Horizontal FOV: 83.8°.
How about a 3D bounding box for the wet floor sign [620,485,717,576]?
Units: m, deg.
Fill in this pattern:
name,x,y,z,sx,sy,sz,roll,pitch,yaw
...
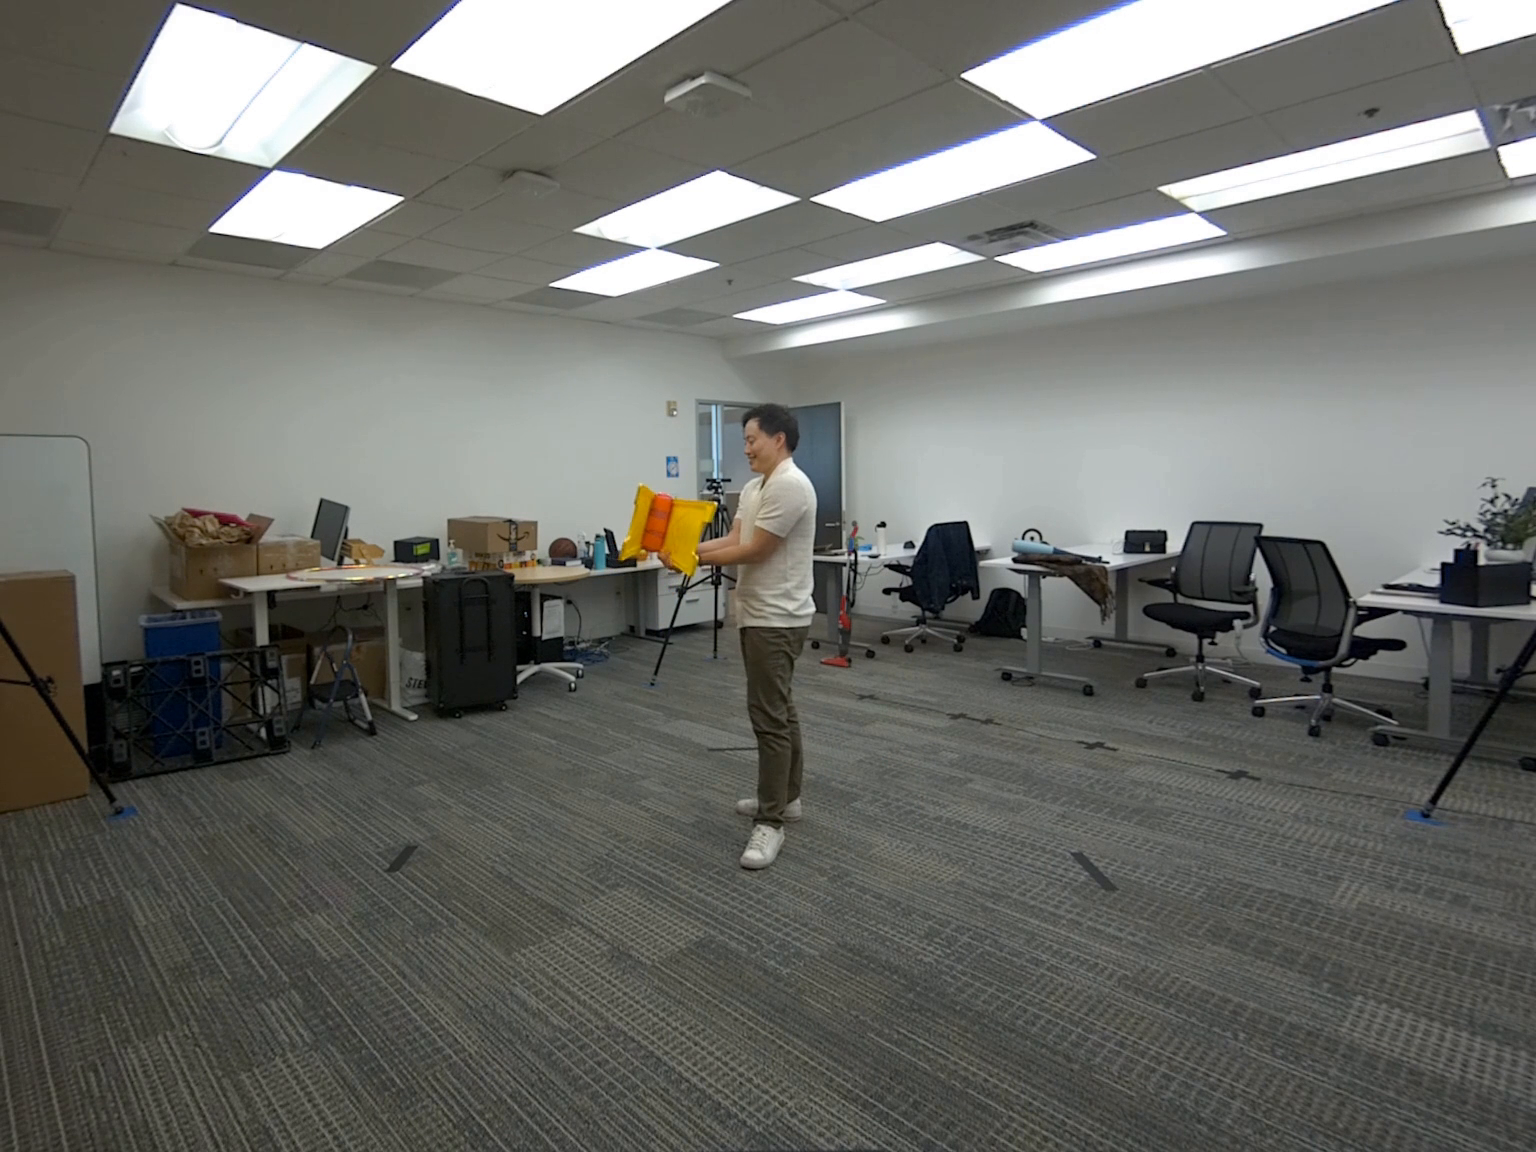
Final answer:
name,x,y,z,sx,sy,sz,roll,pitch,yaw
wet floor sign,-0.416,-0.189,3.315,0.286,0.282,0.654,15,3,-11
